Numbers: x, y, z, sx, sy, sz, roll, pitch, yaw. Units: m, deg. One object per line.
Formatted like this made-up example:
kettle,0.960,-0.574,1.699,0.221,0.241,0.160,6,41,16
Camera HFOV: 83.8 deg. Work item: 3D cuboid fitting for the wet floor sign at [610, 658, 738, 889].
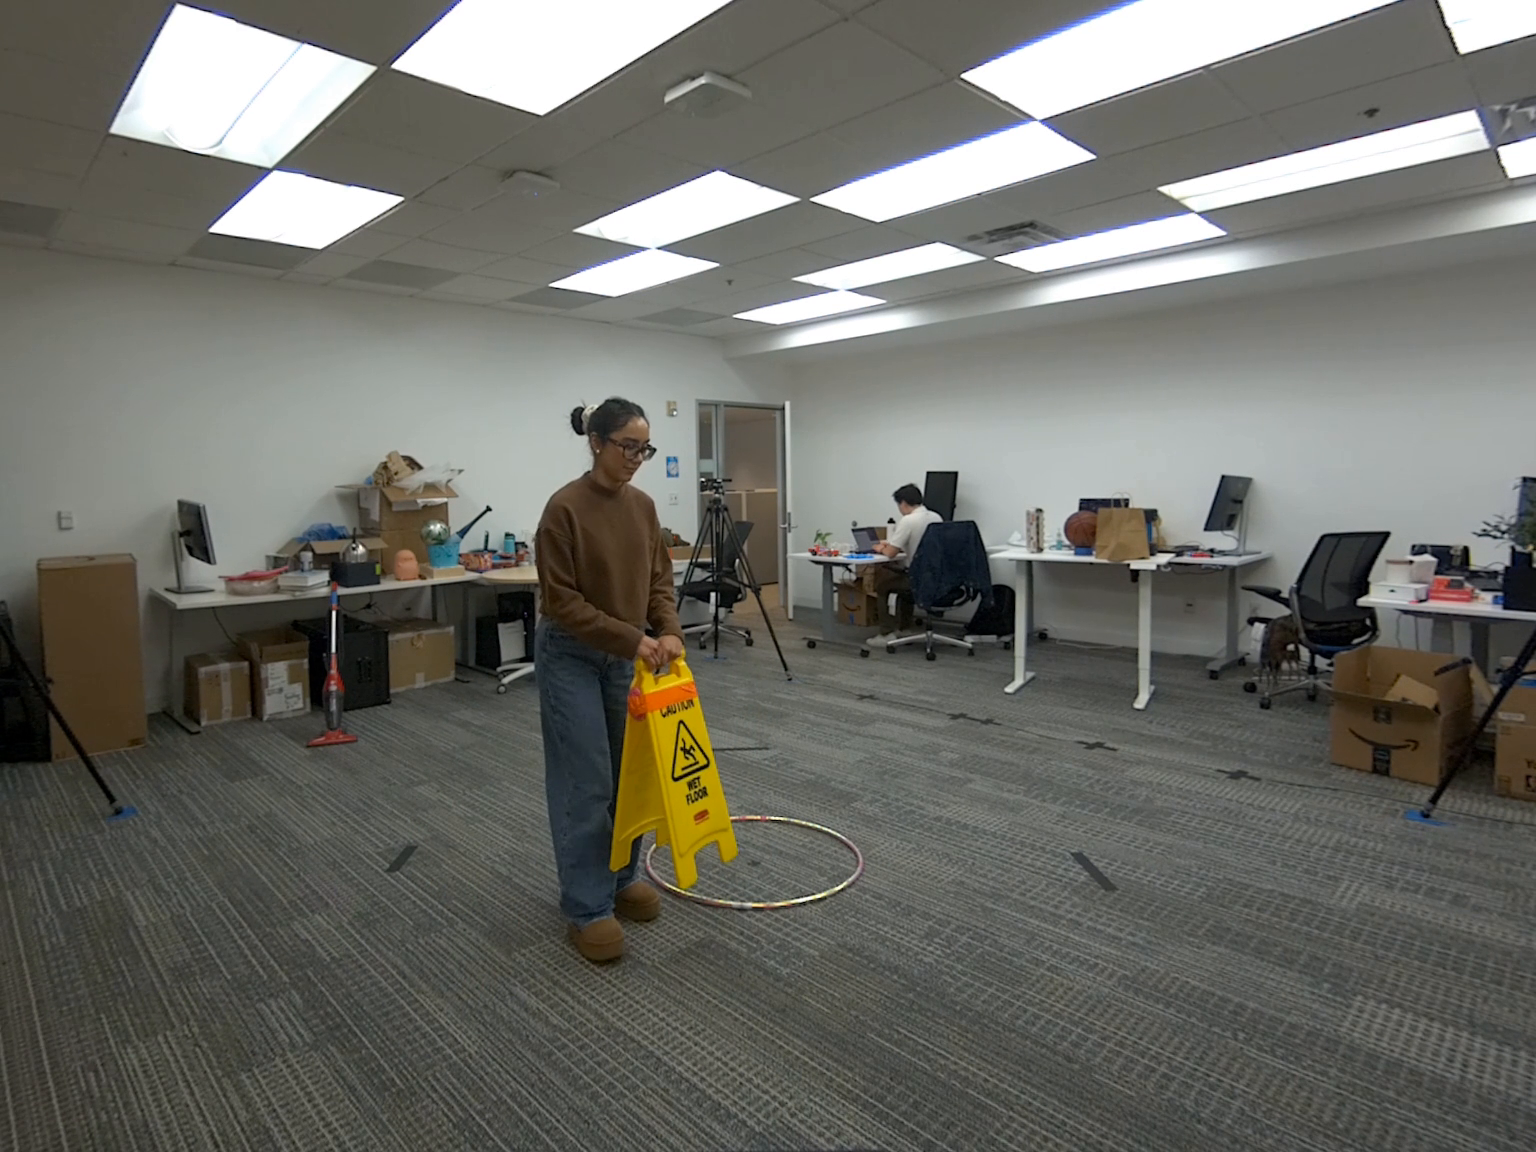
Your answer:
wet floor sign,-0.293,0.534,2.536,0.297,0.644,0.275,-1,4,35
